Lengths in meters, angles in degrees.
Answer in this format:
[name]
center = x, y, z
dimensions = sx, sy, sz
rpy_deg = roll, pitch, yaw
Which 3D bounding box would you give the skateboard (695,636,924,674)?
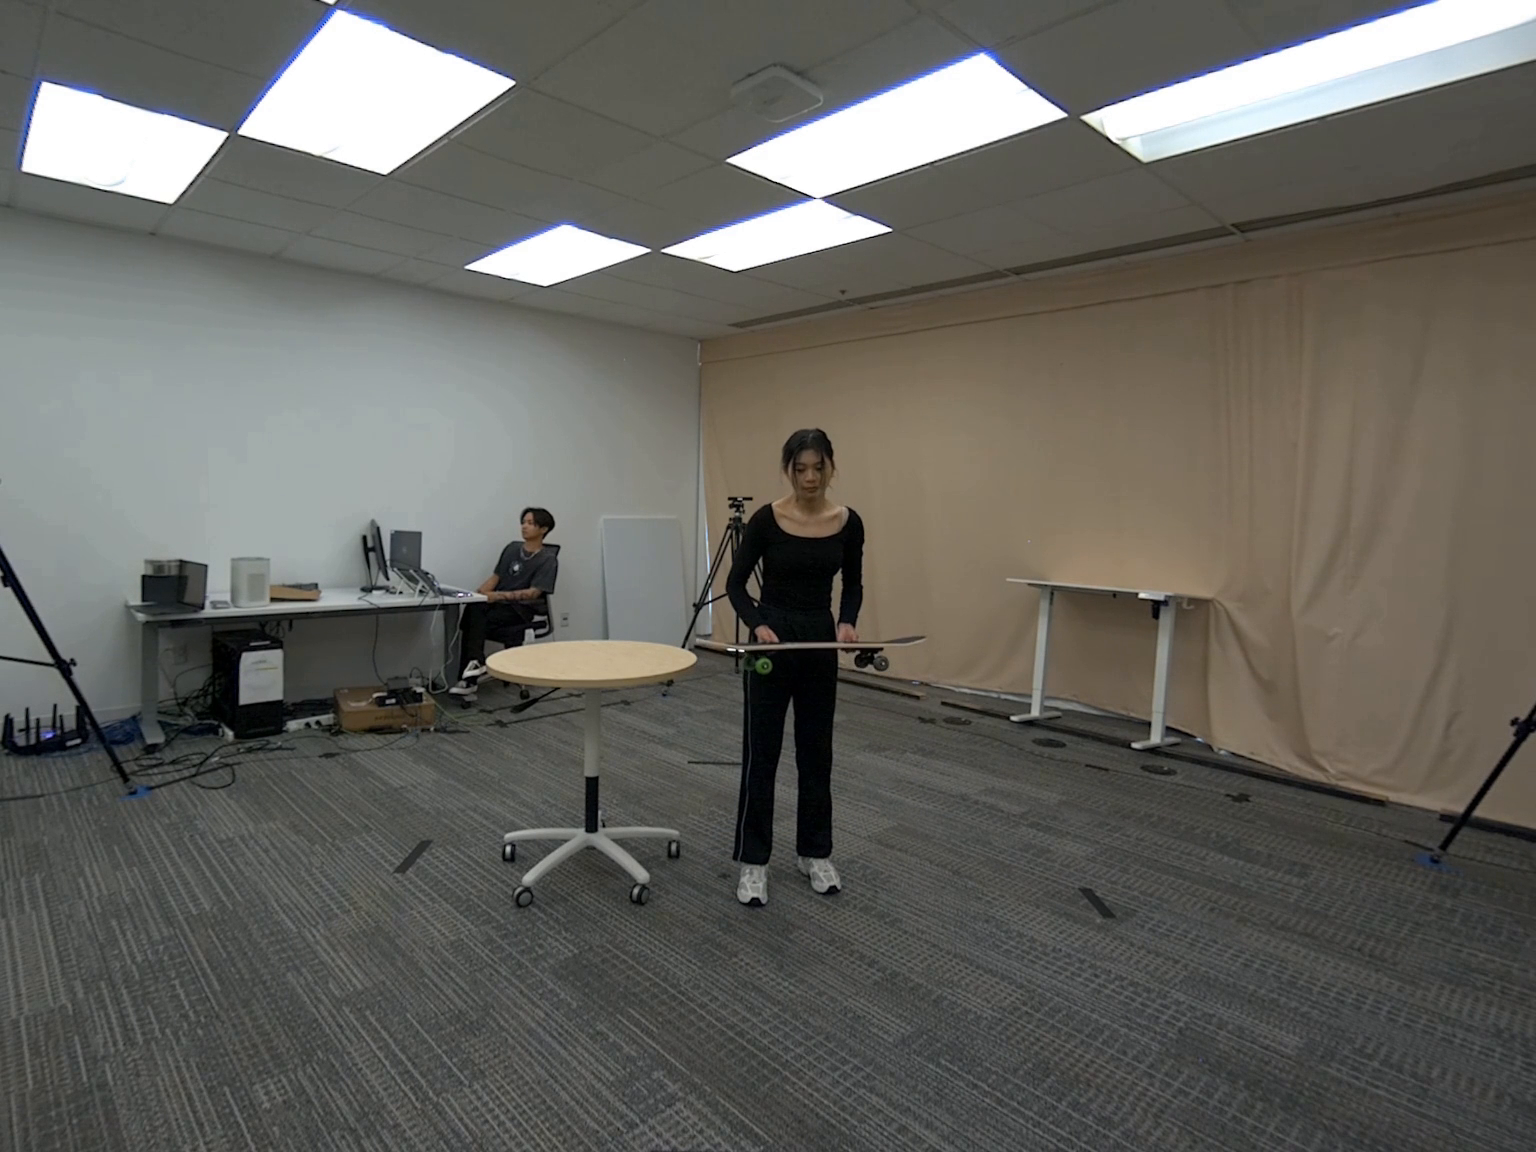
[skateboard]
center = 0.151, 0.261, 2.744
dimensions = 0.776, 0.110, 0.195
rpy_deg = 0, -3, -16
